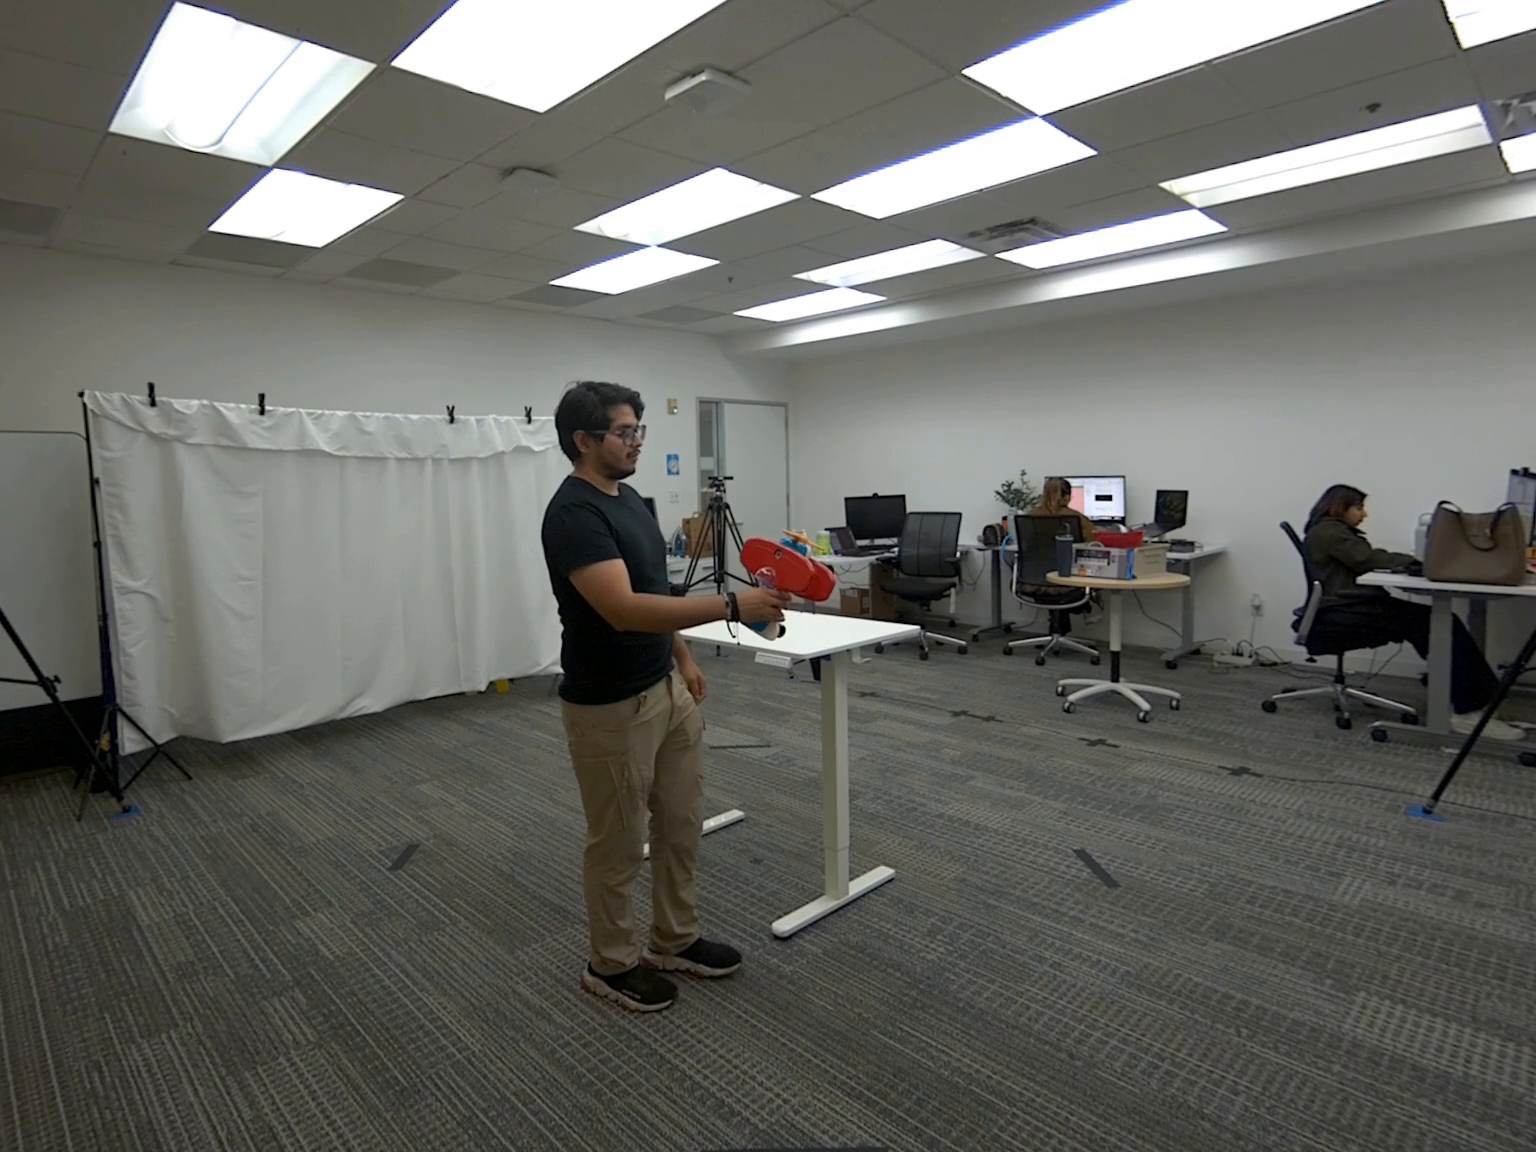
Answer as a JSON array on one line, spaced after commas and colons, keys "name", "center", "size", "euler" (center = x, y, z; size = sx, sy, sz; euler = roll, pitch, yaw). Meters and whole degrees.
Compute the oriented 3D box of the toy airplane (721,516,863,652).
[{"name": "toy airplane", "center": [0.059, 0.023, 2.073], "size": [0.257, 0.263, 0.150], "euler": [-9, -36, 36]}]
